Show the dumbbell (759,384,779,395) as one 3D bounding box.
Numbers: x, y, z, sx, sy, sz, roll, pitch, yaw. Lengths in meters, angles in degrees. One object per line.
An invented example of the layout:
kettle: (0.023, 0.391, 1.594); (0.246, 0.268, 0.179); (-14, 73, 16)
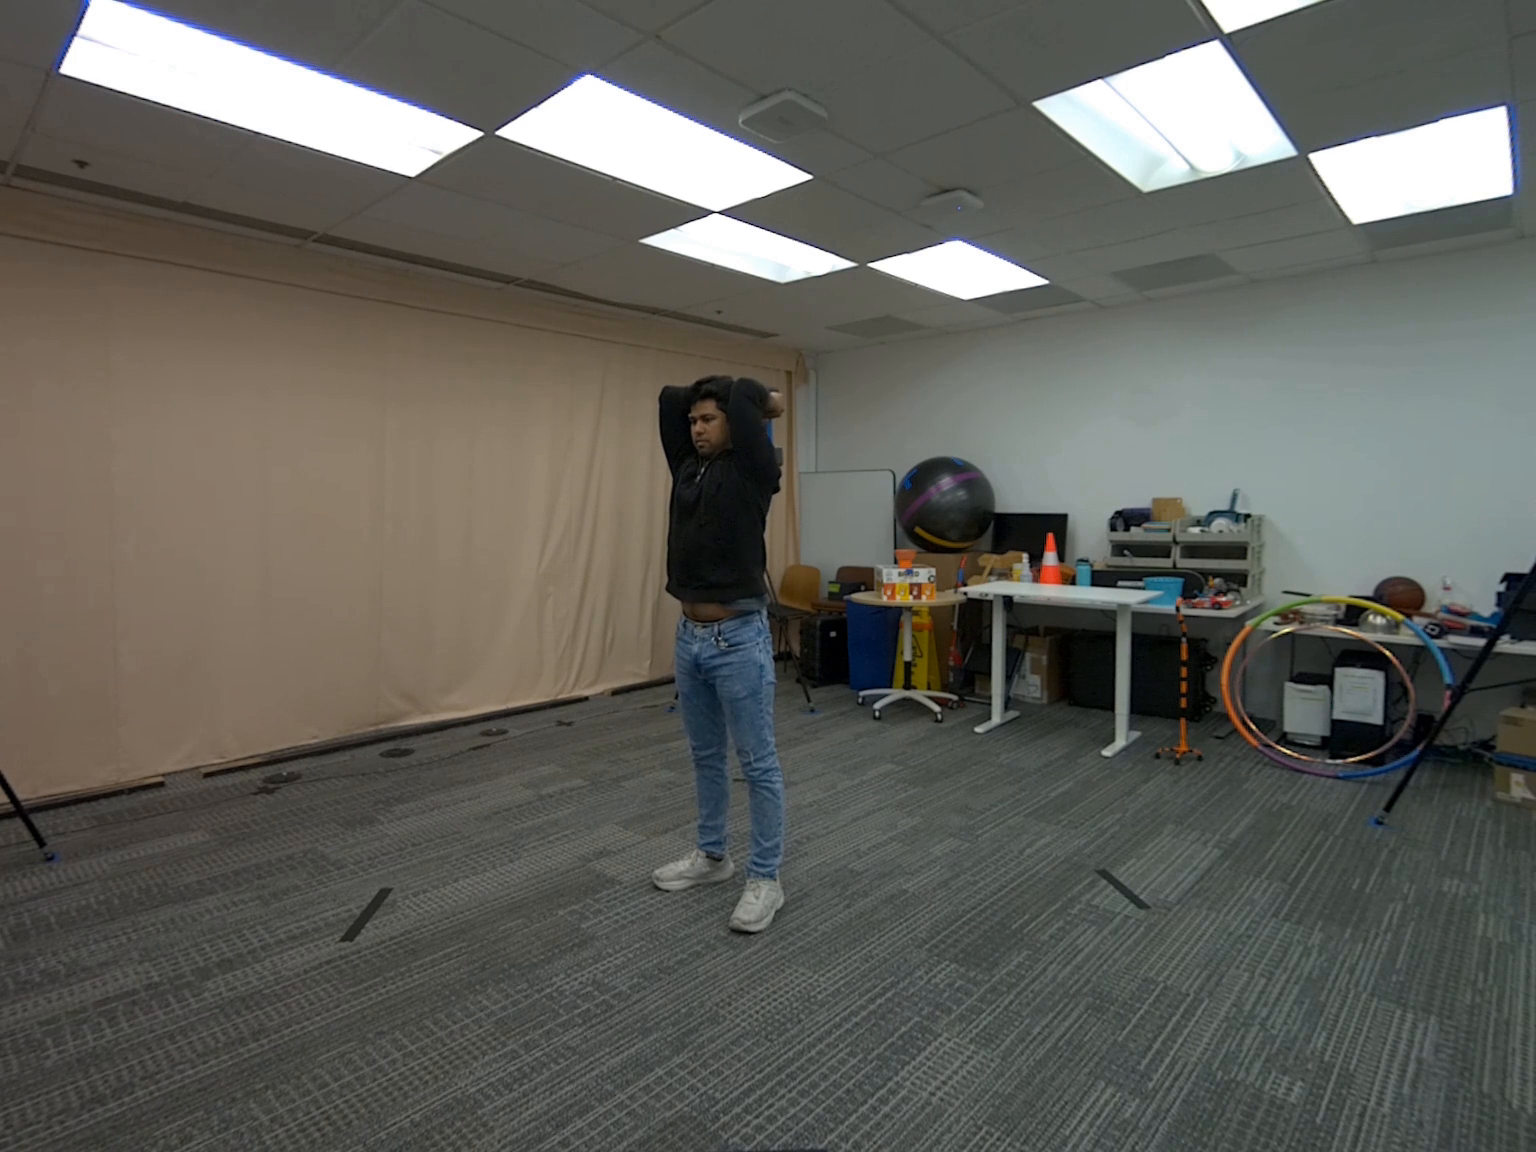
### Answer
dumbbell: (-0.007, -0.545, 3.058); (0.105, 0.292, 0.127); (-8, 6, -41)
